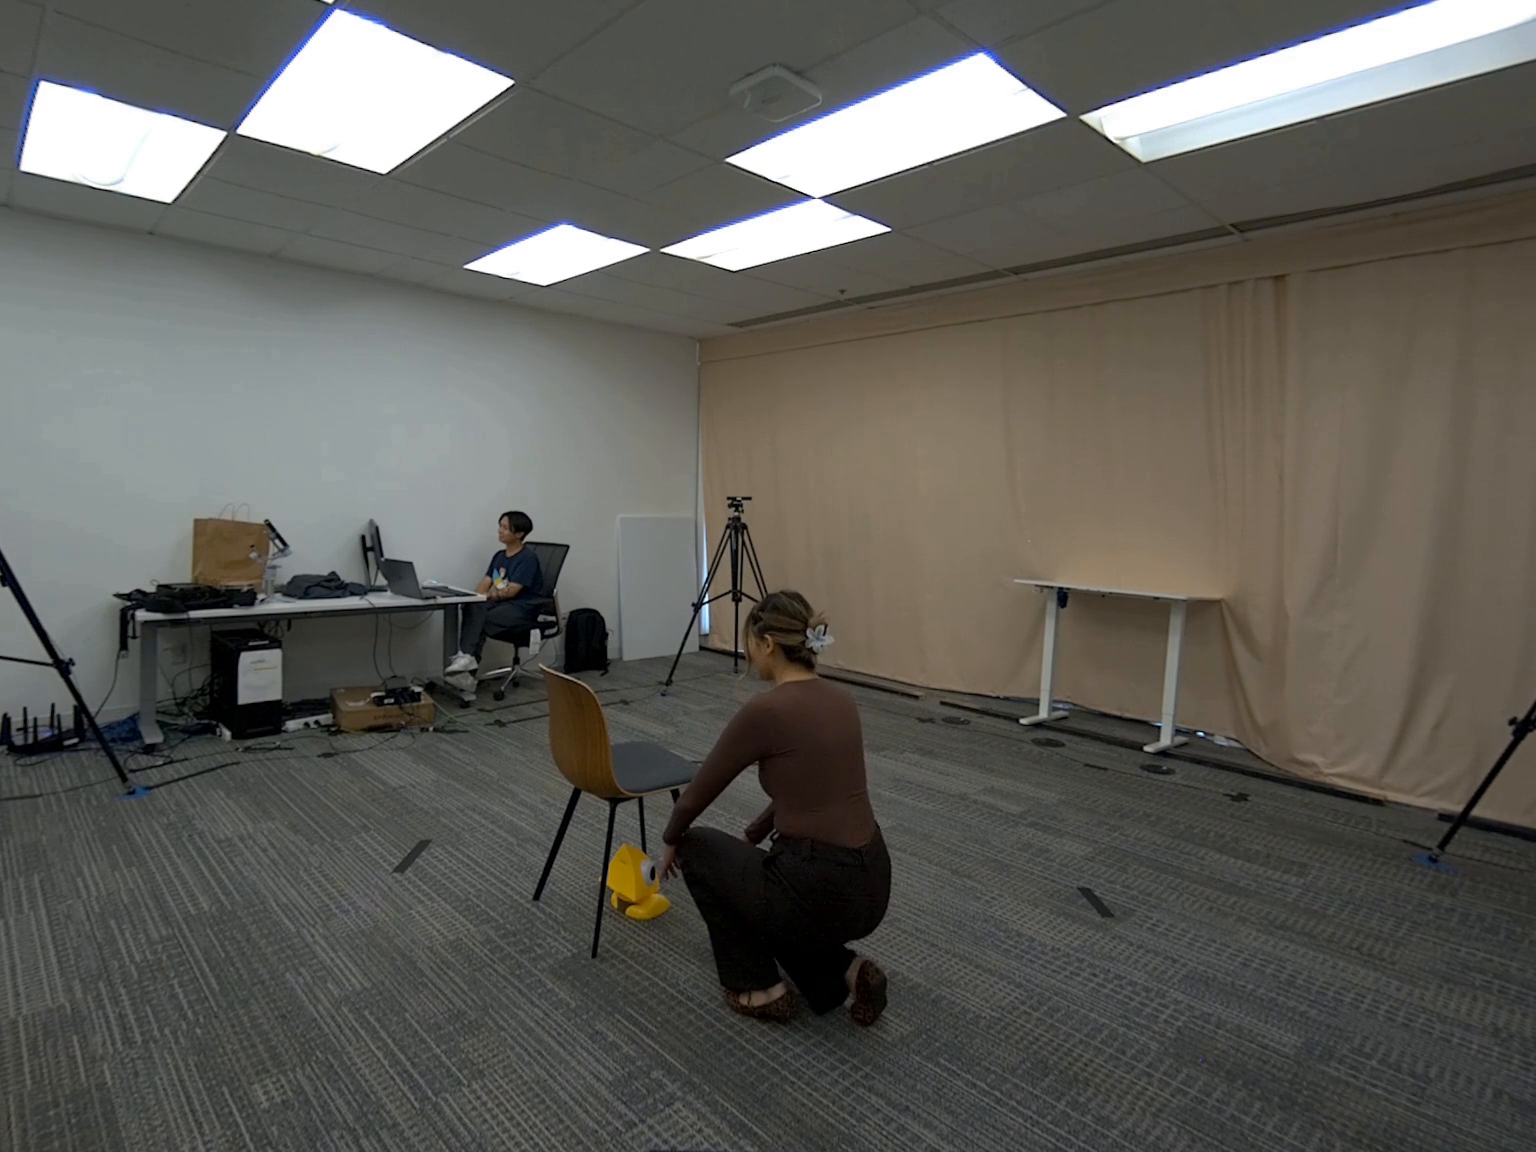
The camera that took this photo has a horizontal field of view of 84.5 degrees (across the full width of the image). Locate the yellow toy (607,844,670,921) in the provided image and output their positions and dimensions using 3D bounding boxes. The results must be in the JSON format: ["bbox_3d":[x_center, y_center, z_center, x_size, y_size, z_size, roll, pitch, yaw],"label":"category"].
[{"bbox_3d":[-0.452,1.011,2.856,0.189,0.230,0.210,-3,6,-44],"label":"yellow toy"}]
